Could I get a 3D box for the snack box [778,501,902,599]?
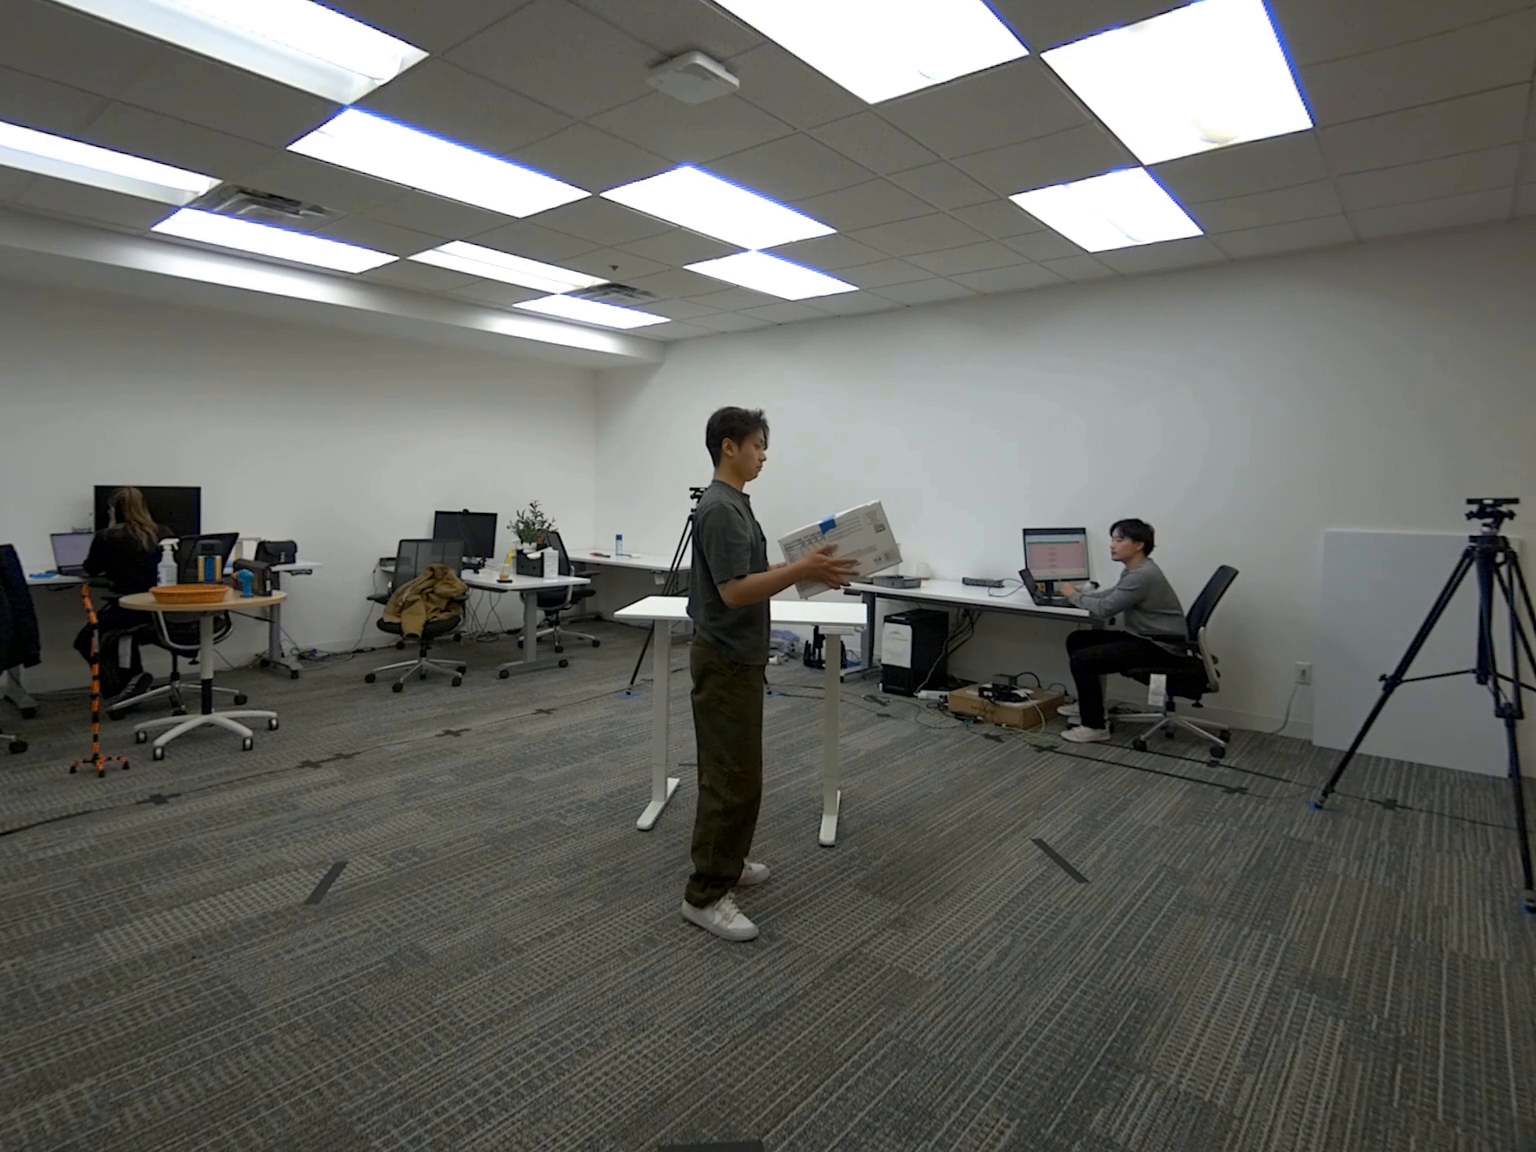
[{"bbox_3d":[0.231,-0.101,2.825,0.342,0.205,0.404,-21,4,7],"label":"snack box"}]
